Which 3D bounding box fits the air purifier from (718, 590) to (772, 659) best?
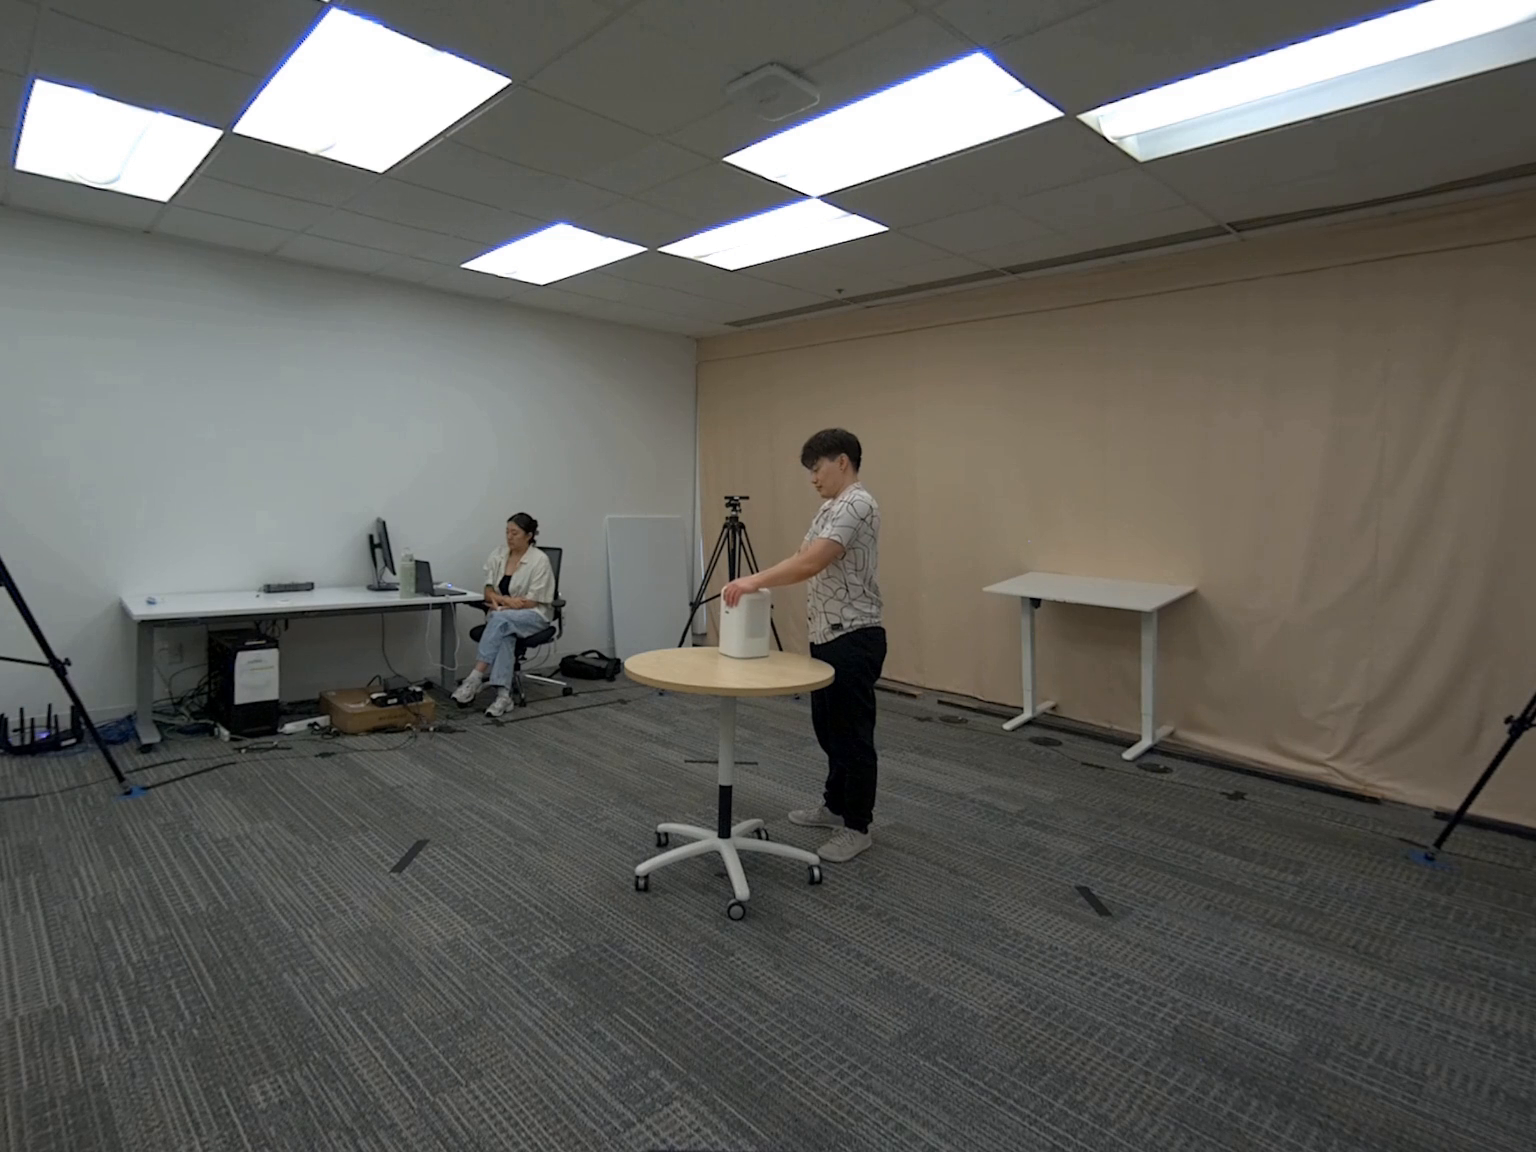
[{"bbox_3d":[-0.093,0.176,3.296,0.168,0.265,0.175,0,4,-33],"label":"air purifier"}]
